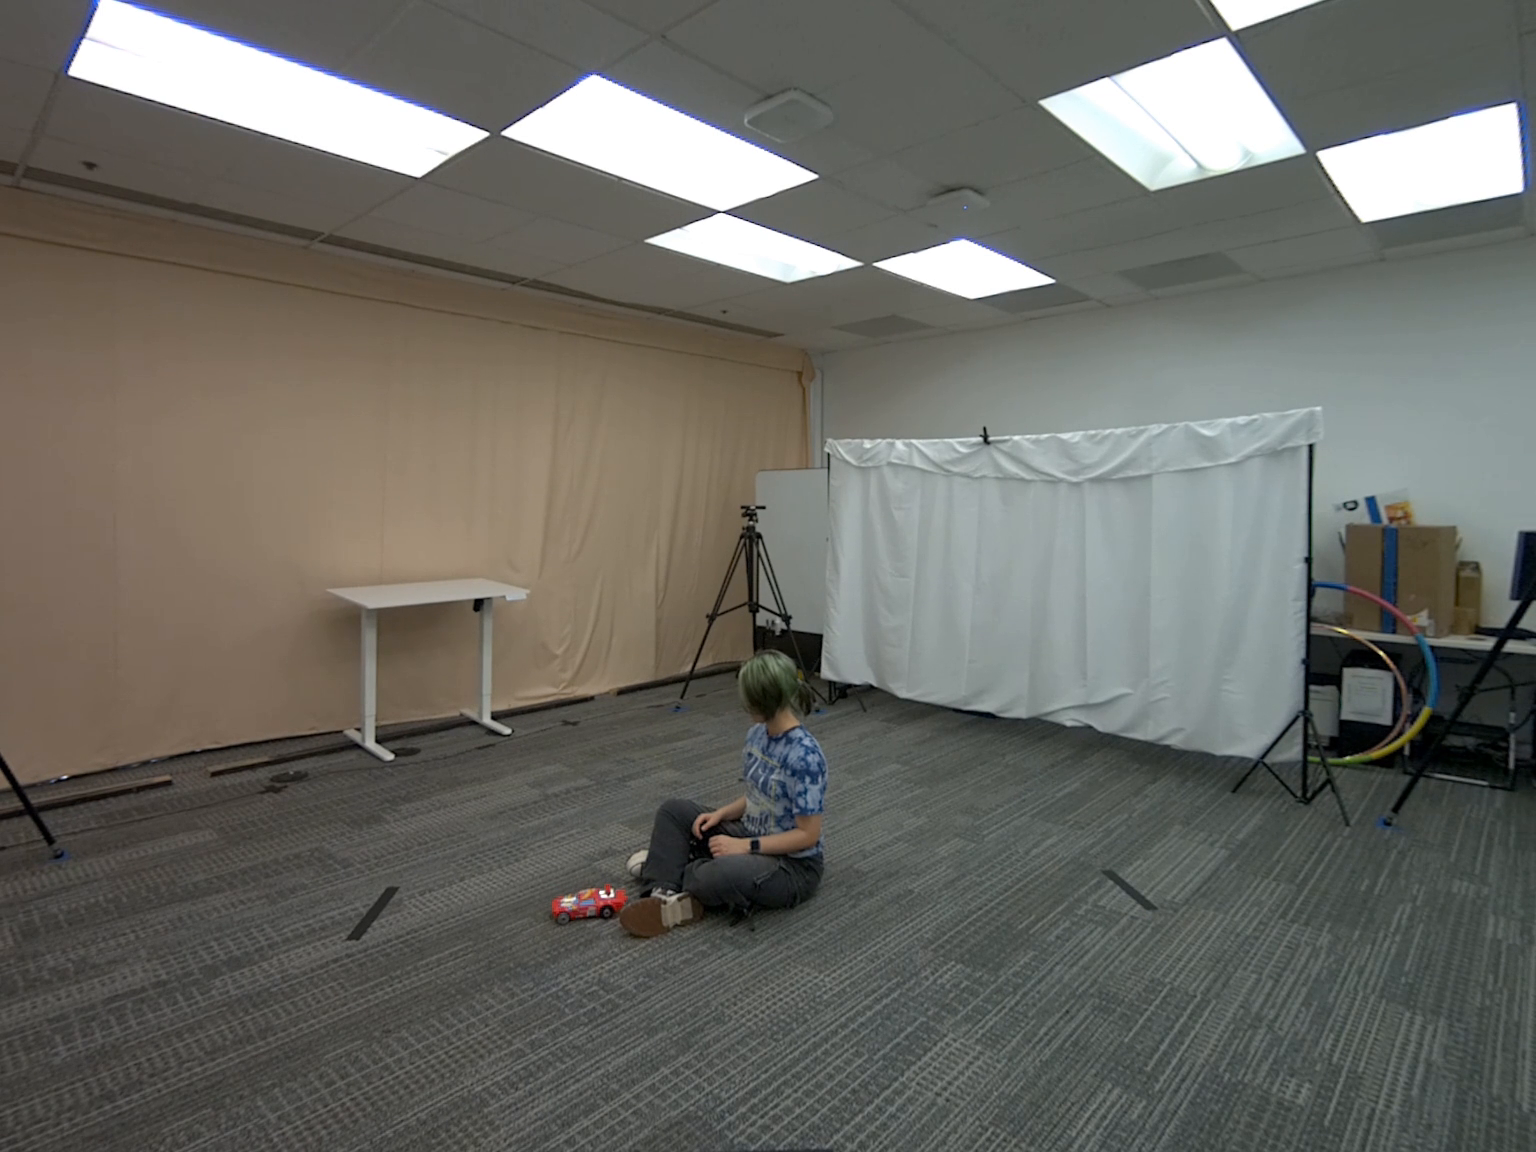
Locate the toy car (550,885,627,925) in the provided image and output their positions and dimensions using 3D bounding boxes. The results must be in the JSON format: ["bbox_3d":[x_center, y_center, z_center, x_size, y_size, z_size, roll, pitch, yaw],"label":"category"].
[{"bbox_3d":[-0.608,1.126,2.885,0.251,0.083,0.132,-13,6,-13],"label":"toy car"}]
